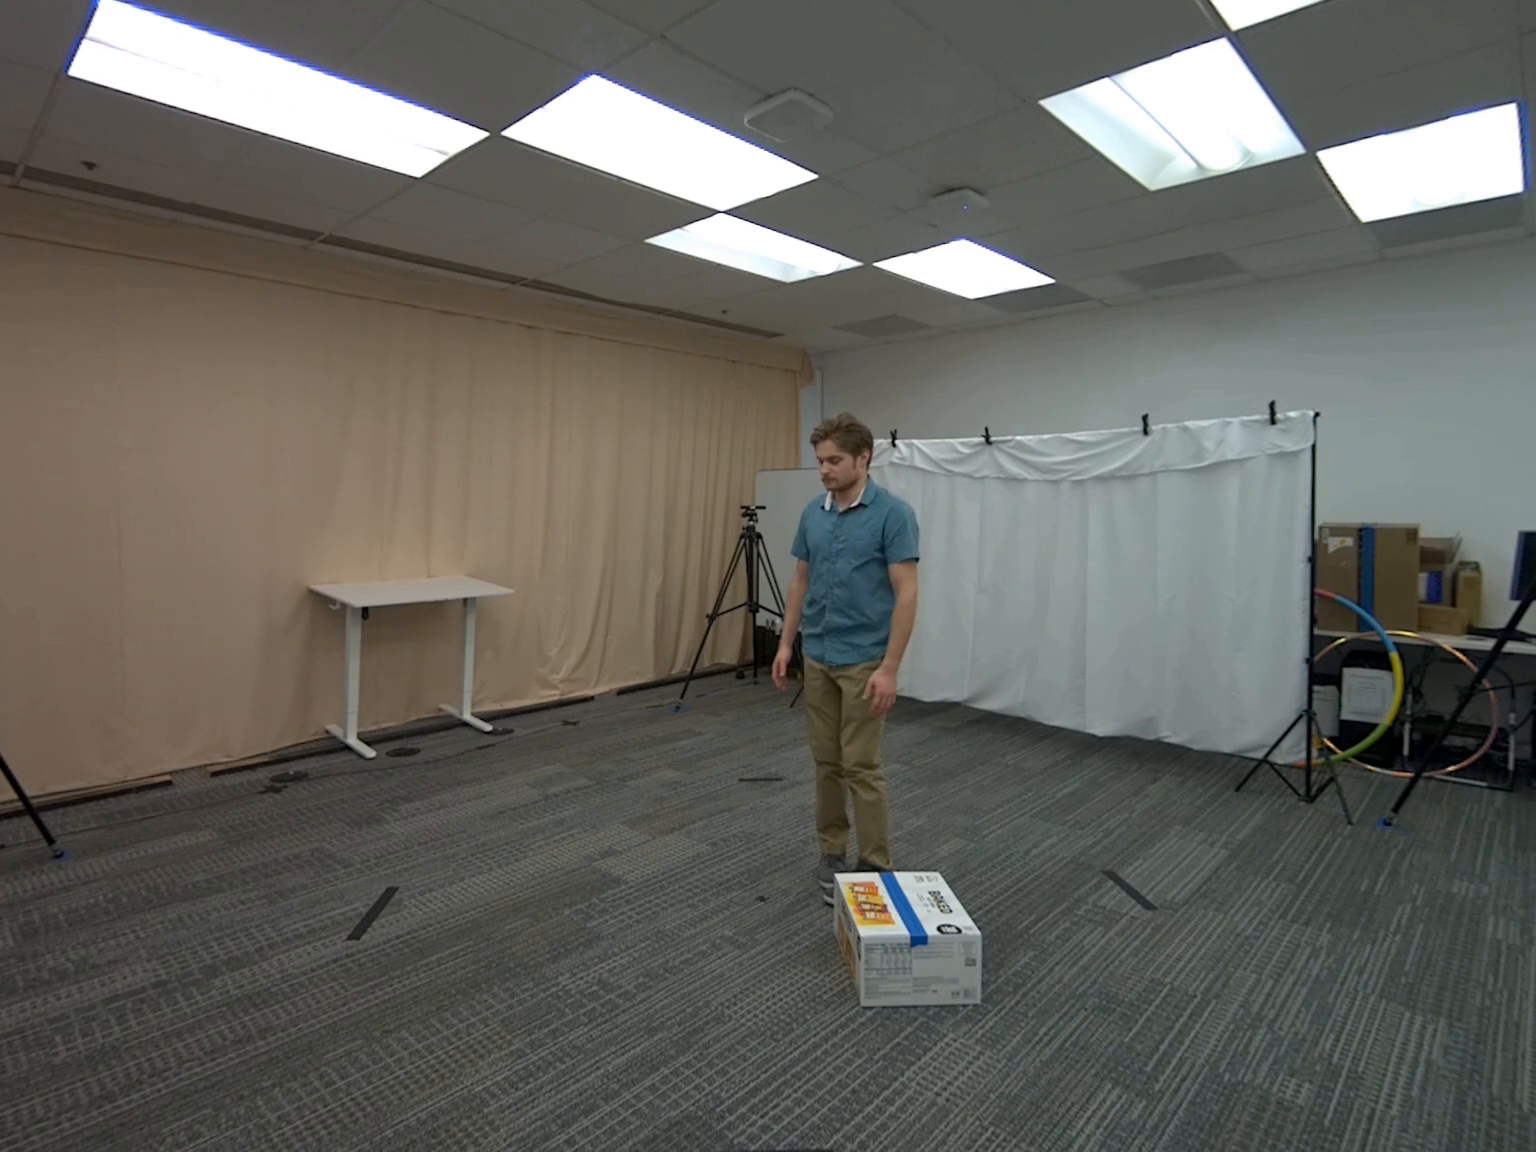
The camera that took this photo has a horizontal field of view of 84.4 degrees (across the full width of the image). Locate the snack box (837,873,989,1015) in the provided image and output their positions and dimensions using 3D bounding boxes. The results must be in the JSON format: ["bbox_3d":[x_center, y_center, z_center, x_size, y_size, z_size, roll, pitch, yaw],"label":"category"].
[{"bbox_3d":[0.413,1.076,2.519,0.339,0.205,0.408,-1,4,-5],"label":"snack box"}]
